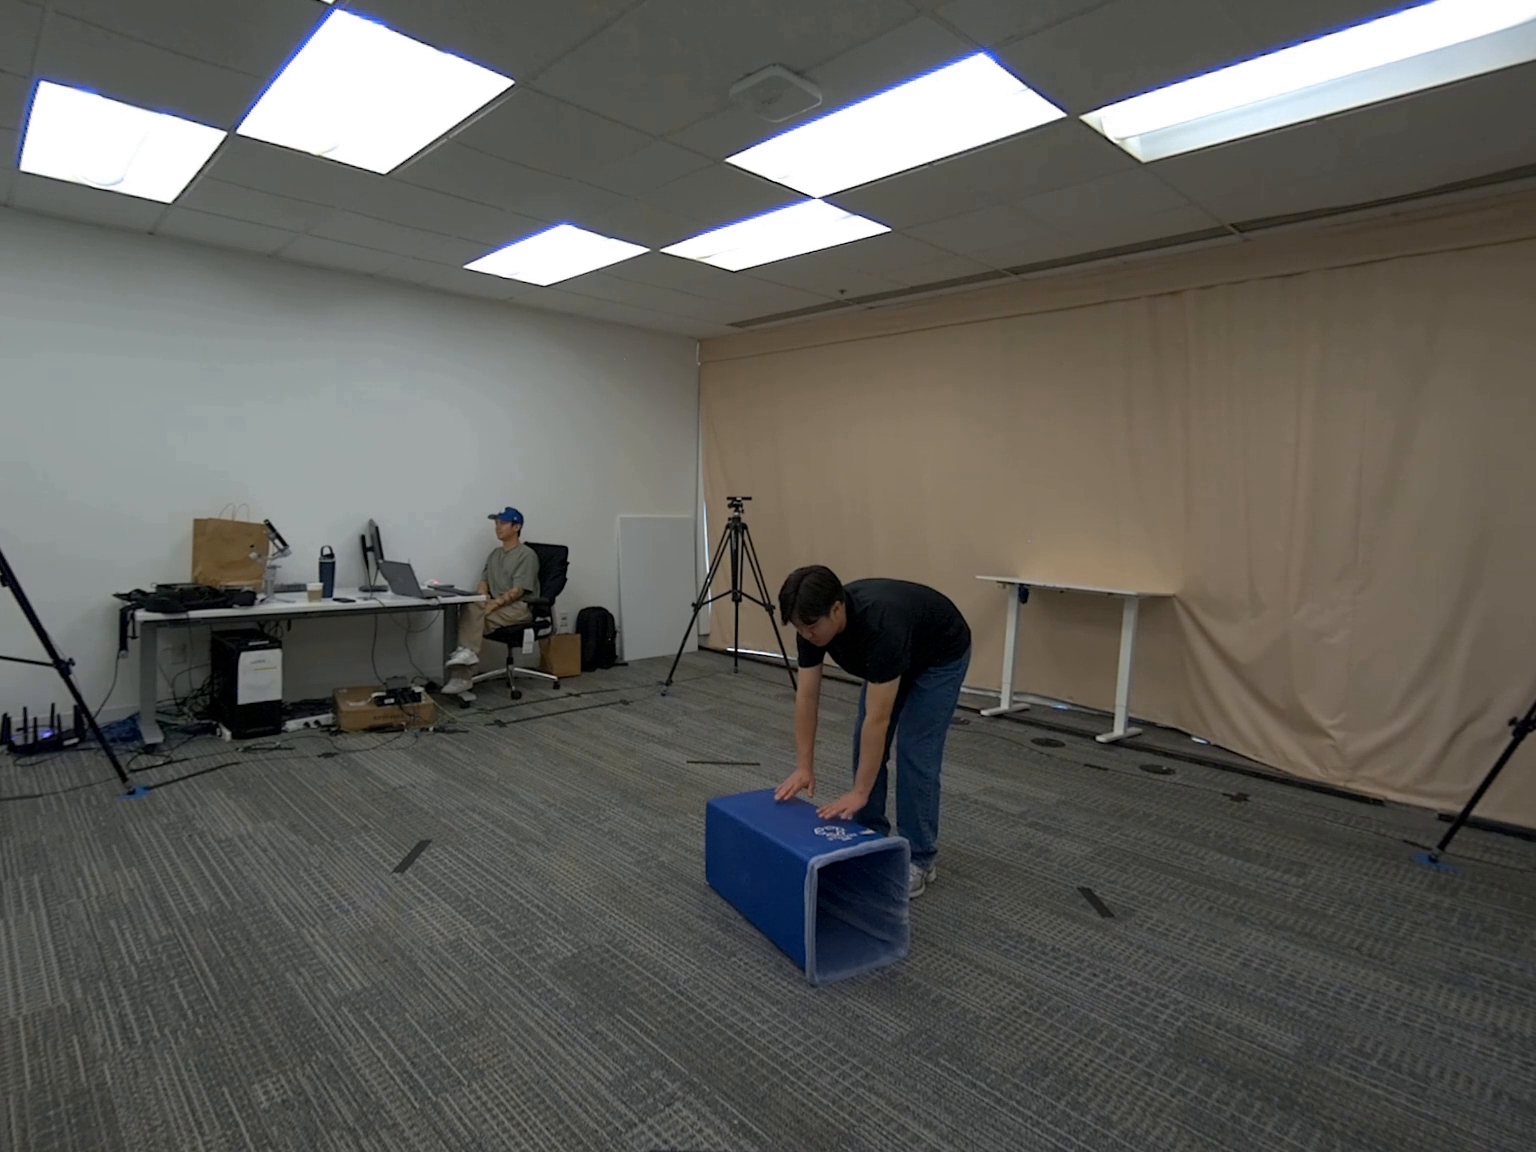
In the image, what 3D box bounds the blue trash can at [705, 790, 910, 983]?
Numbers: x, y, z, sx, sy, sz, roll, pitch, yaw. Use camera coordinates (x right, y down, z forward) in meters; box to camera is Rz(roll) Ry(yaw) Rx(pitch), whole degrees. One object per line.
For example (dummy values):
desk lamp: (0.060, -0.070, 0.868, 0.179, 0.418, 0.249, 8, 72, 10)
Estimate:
blue trash can: (0.083, 0.974, 2.783, 0.366, 0.378, 0.729, -1, 2, -32)
